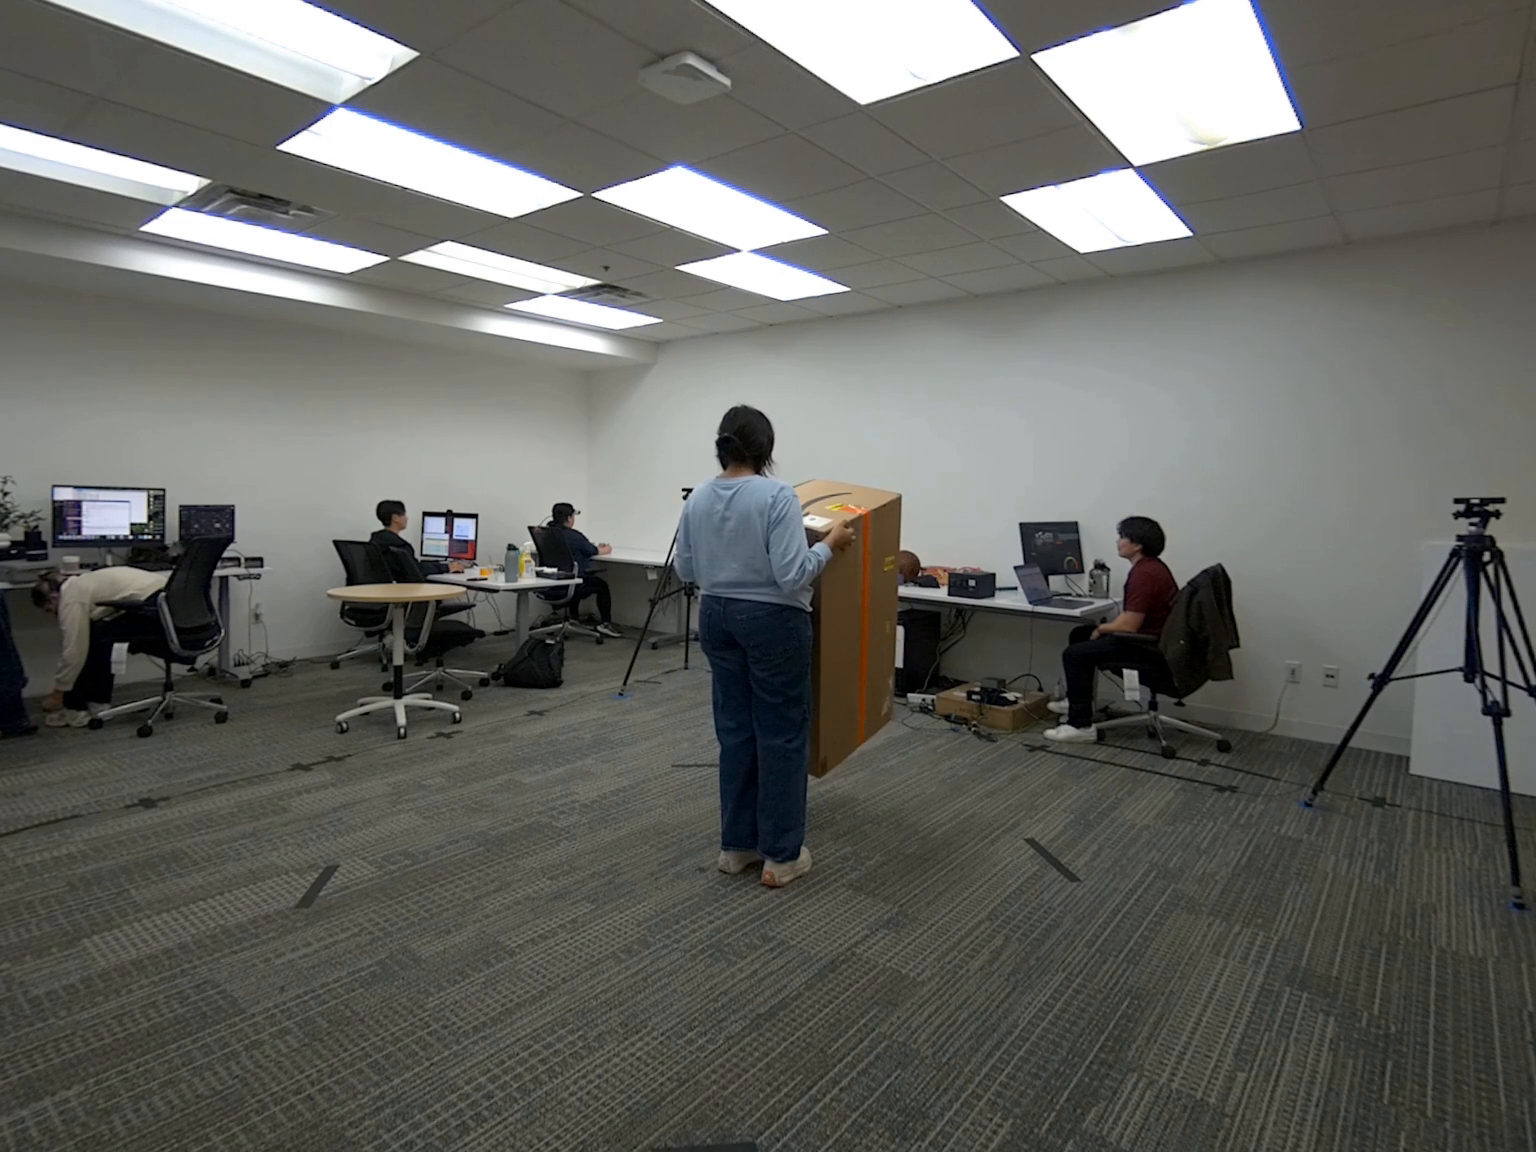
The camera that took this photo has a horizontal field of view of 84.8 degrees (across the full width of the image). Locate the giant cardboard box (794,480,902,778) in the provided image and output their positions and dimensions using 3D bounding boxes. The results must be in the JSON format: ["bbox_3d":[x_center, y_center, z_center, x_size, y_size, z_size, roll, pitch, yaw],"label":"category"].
[{"bbox_3d":[0.200,0.183,3.492,0.464,1.008,0.573,16,26,39],"label":"giant cardboard box"}]
